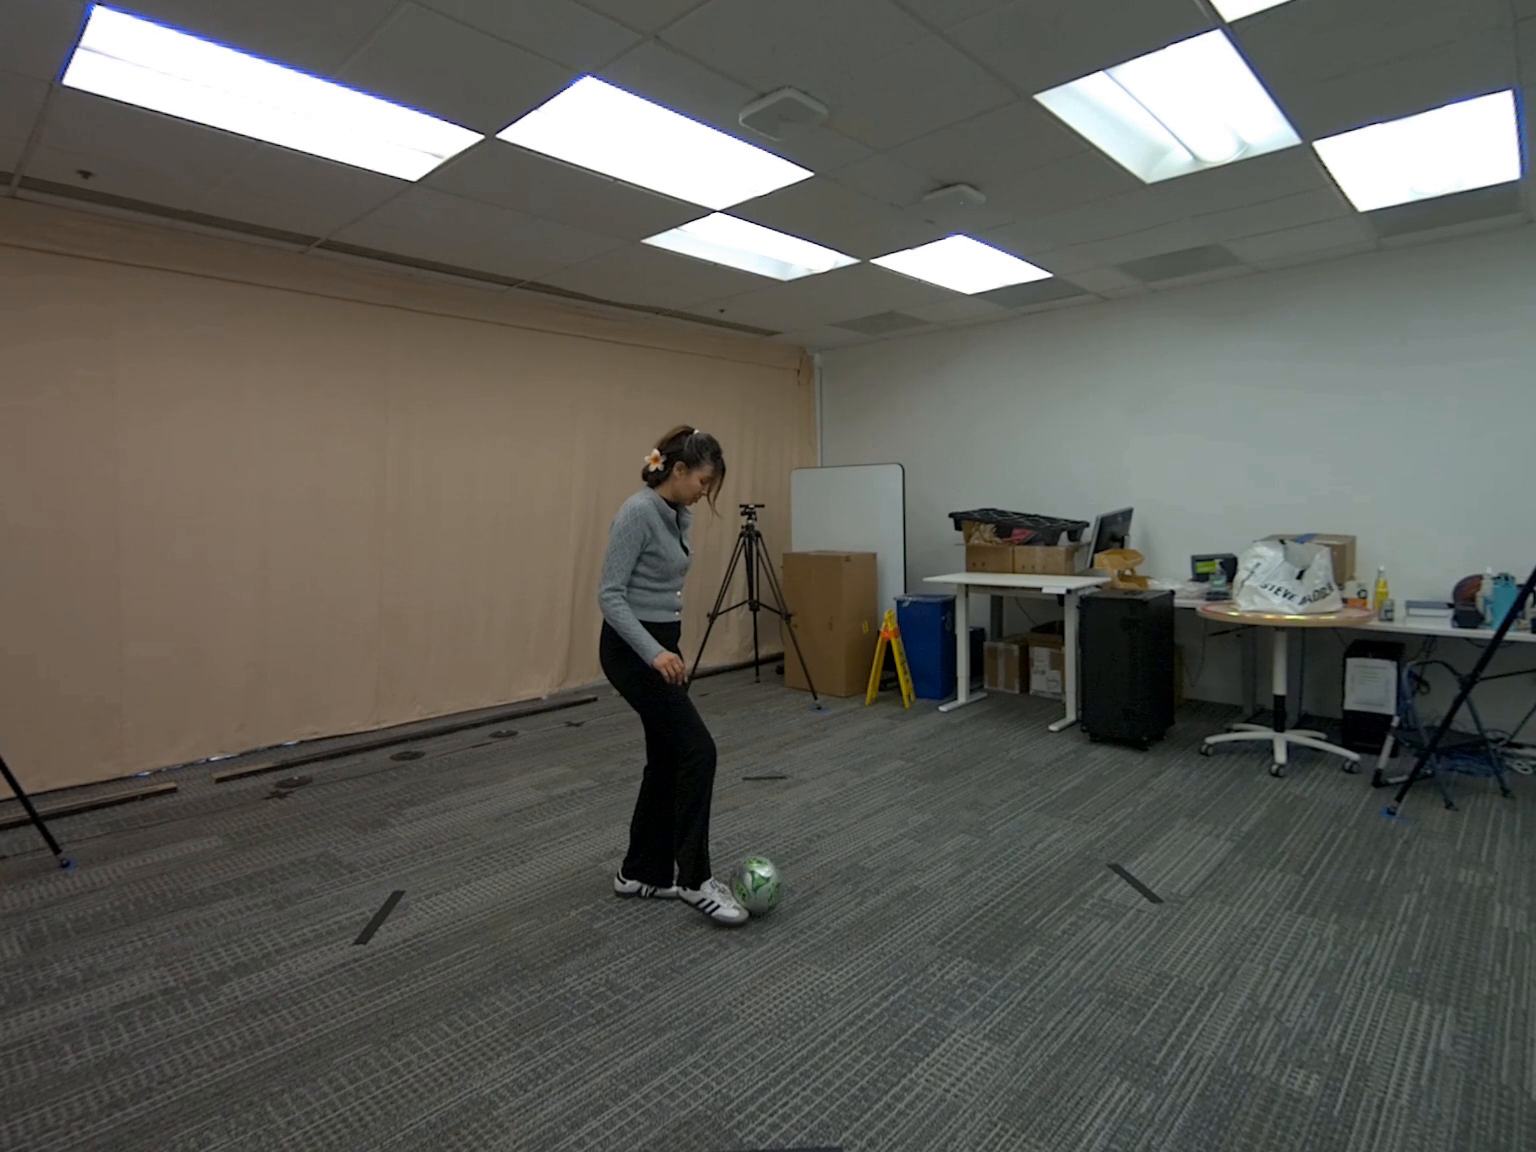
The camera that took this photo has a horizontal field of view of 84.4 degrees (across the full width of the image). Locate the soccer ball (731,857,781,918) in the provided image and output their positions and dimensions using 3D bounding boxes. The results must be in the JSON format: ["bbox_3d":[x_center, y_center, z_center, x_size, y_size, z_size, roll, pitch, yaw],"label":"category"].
[{"bbox_3d":[-0.018,1.045,2.883,0.187,0.187,0.188,-1,4,-2],"label":"soccer ball"}]
